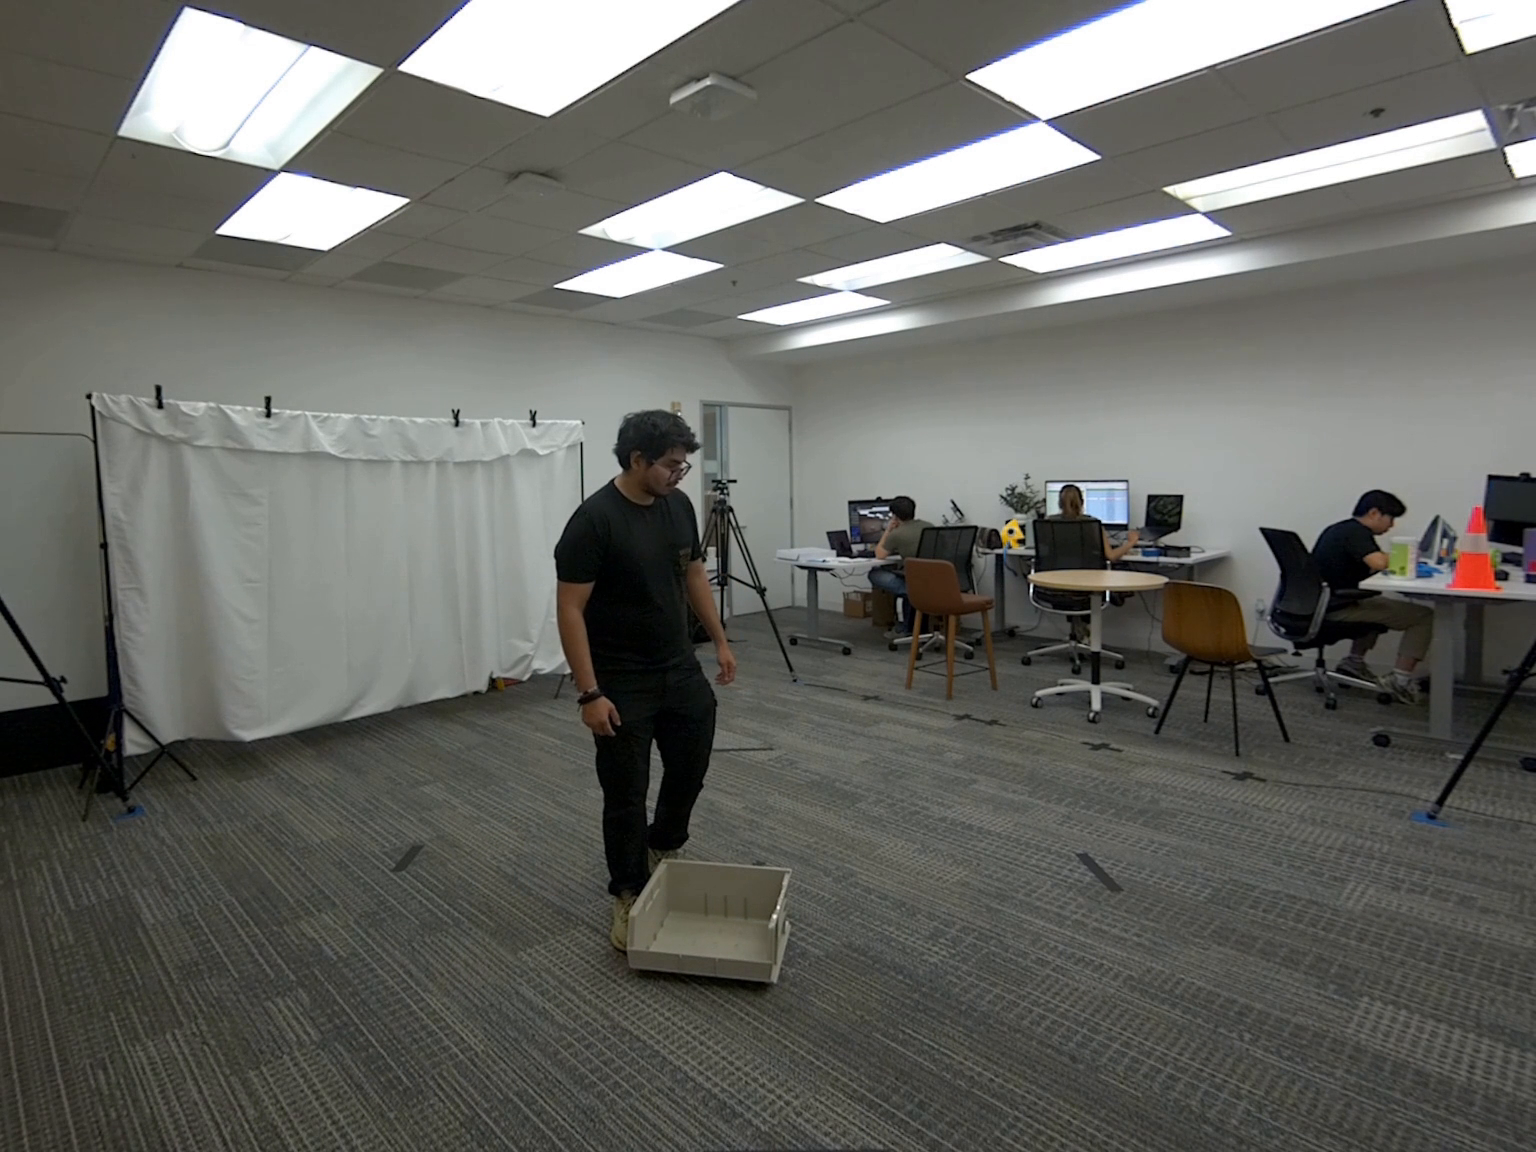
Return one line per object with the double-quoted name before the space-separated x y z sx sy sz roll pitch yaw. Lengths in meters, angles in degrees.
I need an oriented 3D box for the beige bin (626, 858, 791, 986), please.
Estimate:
"beige bin" -0.155 1.029 2.528 0.427 0.188 0.374 0 5 11
